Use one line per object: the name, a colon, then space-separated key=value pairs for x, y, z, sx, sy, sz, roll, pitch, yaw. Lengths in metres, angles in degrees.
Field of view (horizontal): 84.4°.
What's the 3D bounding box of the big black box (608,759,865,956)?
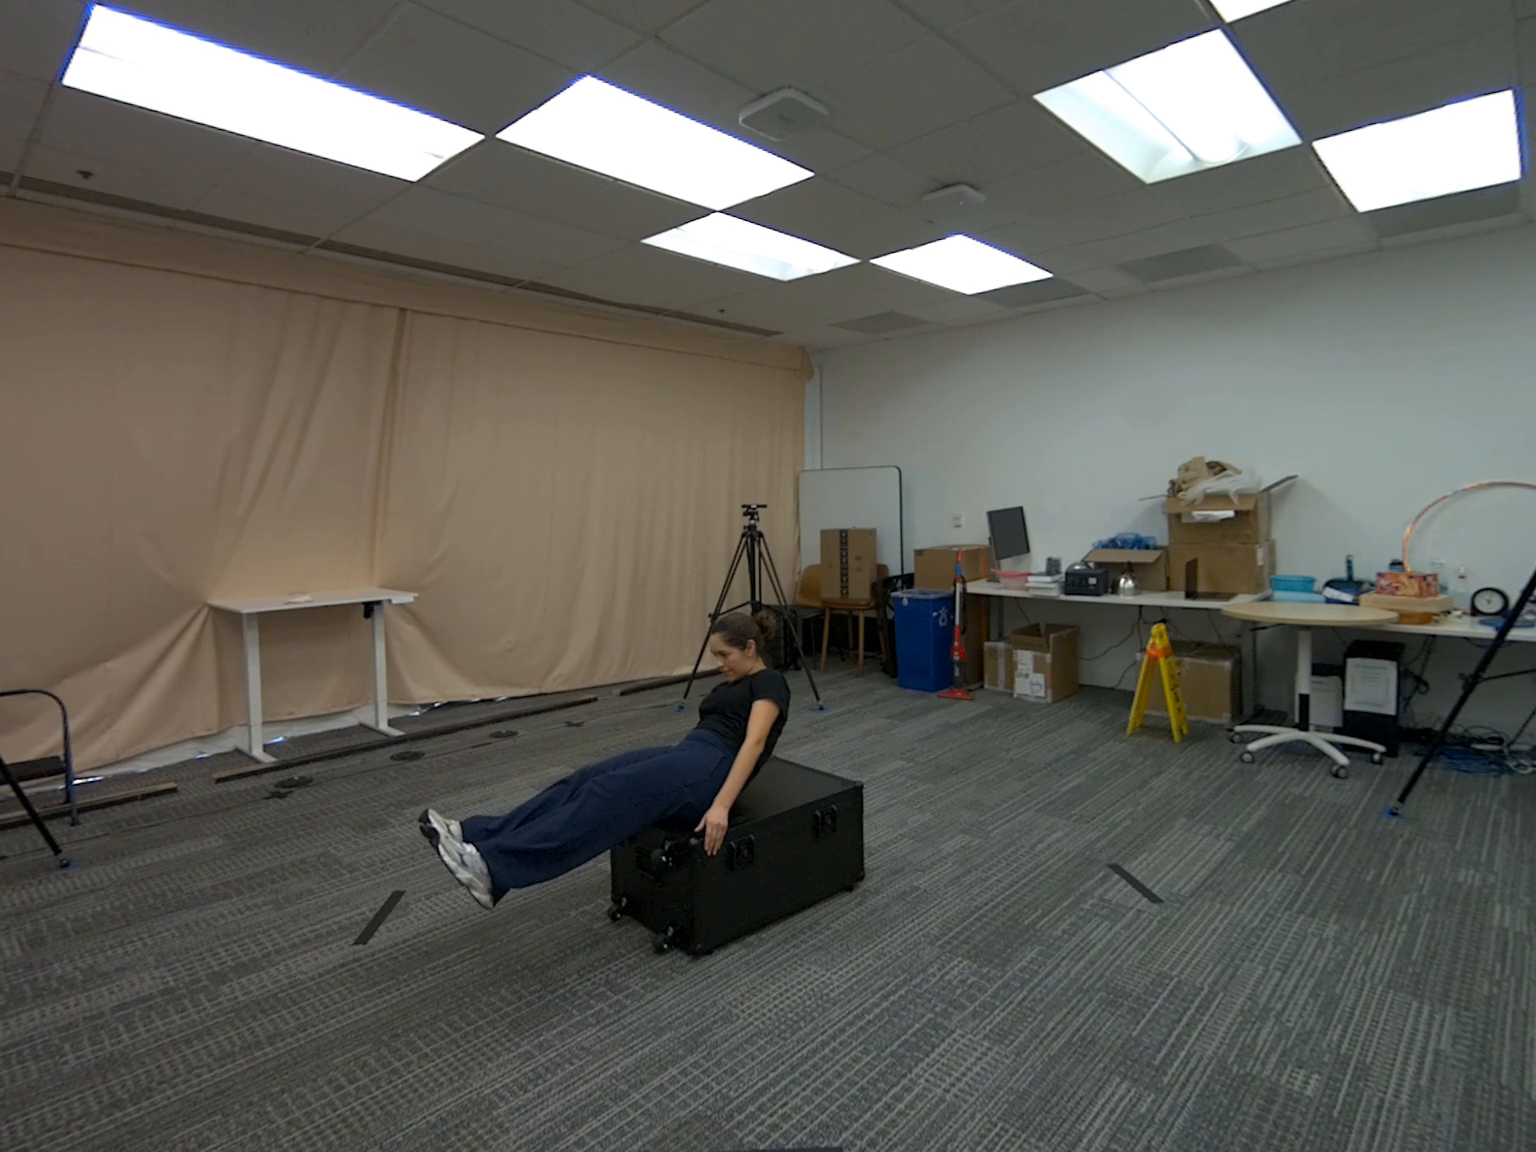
big black box: x=-0.062 y=0.952 z=3.003 sx=0.836 sy=0.395 sz=0.538 roll=-6 pitch=7 yaw=-41
